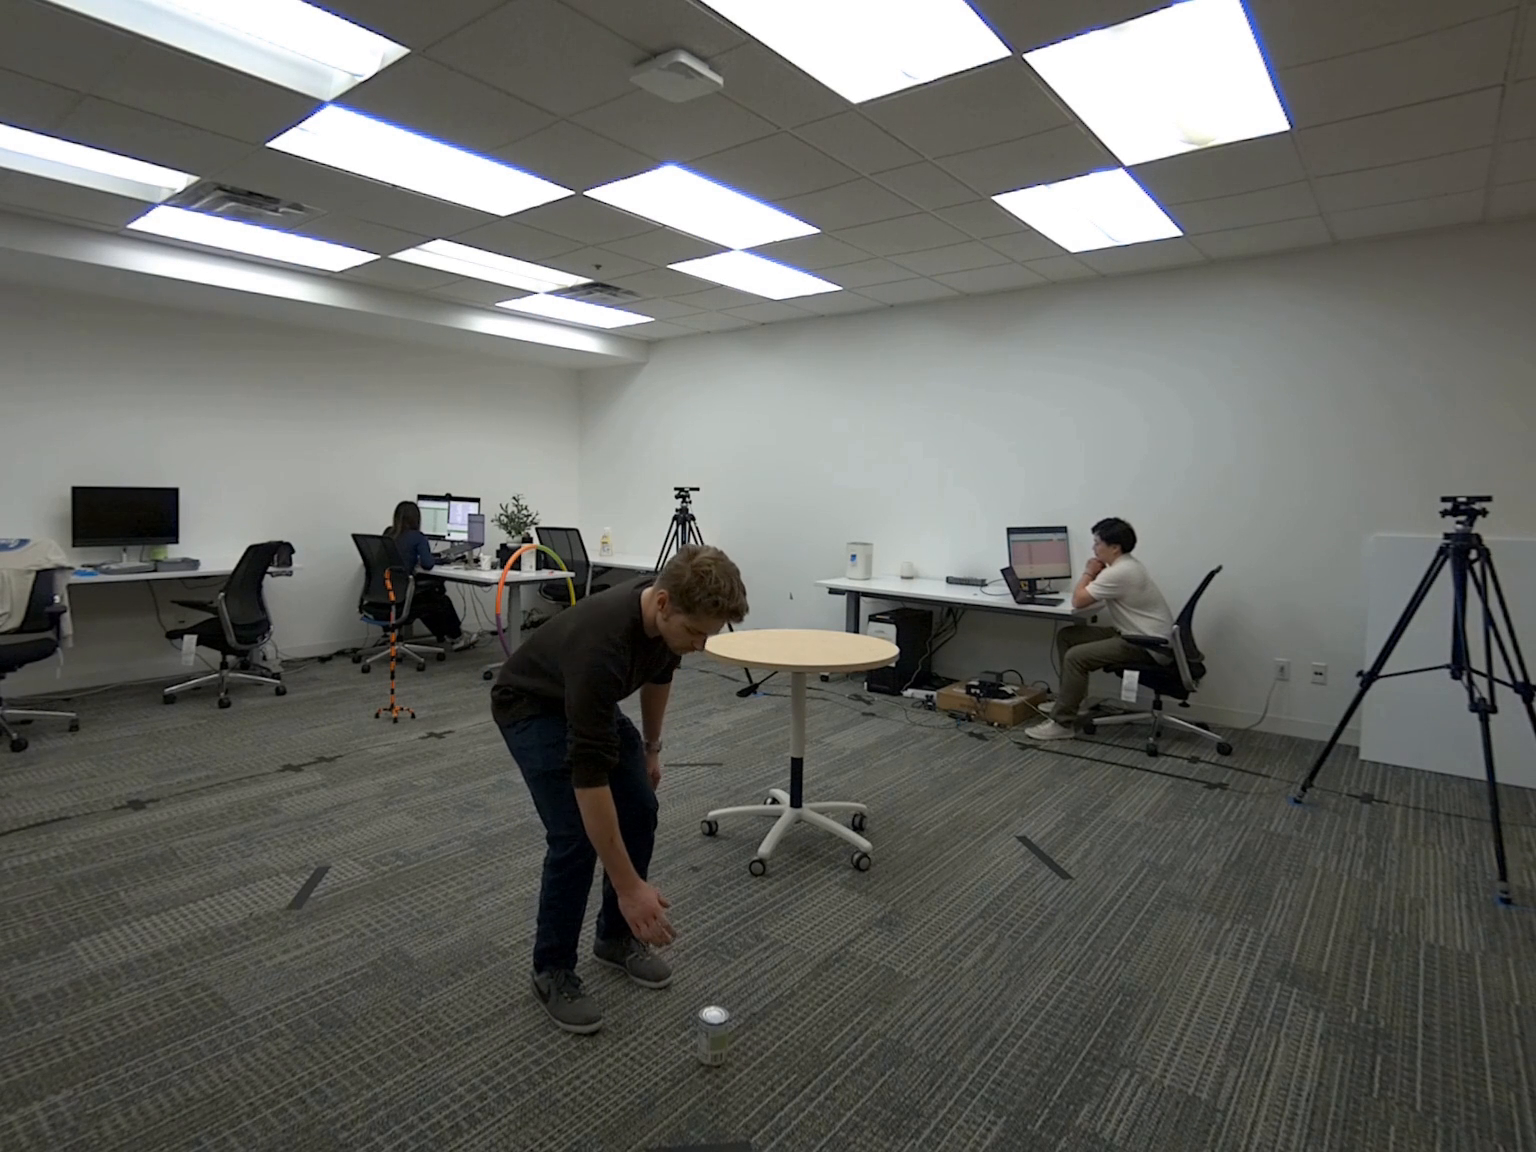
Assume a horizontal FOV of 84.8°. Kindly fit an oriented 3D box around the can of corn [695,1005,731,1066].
[{"bbox_3d":[-0.140,1.121,2.070,0.074,0.110,0.075,1,10,-2],"label":"can of corn"}]
